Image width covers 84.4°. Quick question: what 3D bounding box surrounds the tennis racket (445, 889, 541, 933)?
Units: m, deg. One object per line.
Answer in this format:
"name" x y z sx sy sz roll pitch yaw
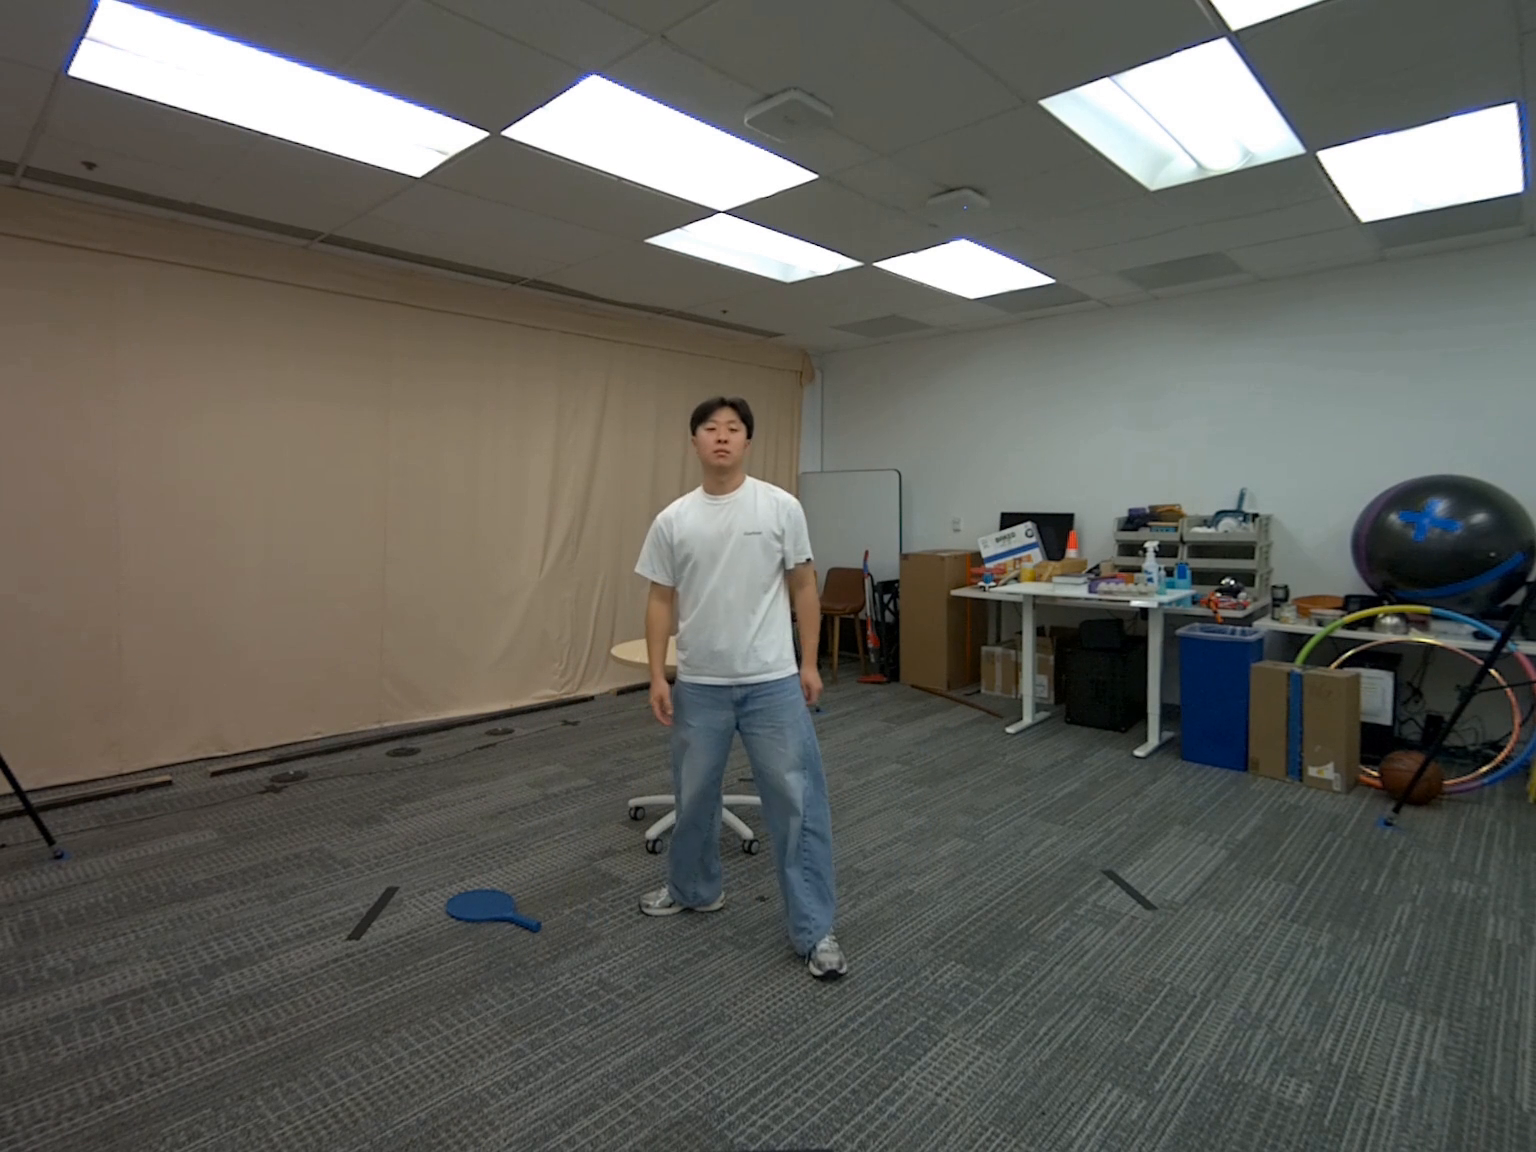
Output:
"tennis racket" -0.933 1.148 2.884 0.447 0.032 0.207 1 4 37
